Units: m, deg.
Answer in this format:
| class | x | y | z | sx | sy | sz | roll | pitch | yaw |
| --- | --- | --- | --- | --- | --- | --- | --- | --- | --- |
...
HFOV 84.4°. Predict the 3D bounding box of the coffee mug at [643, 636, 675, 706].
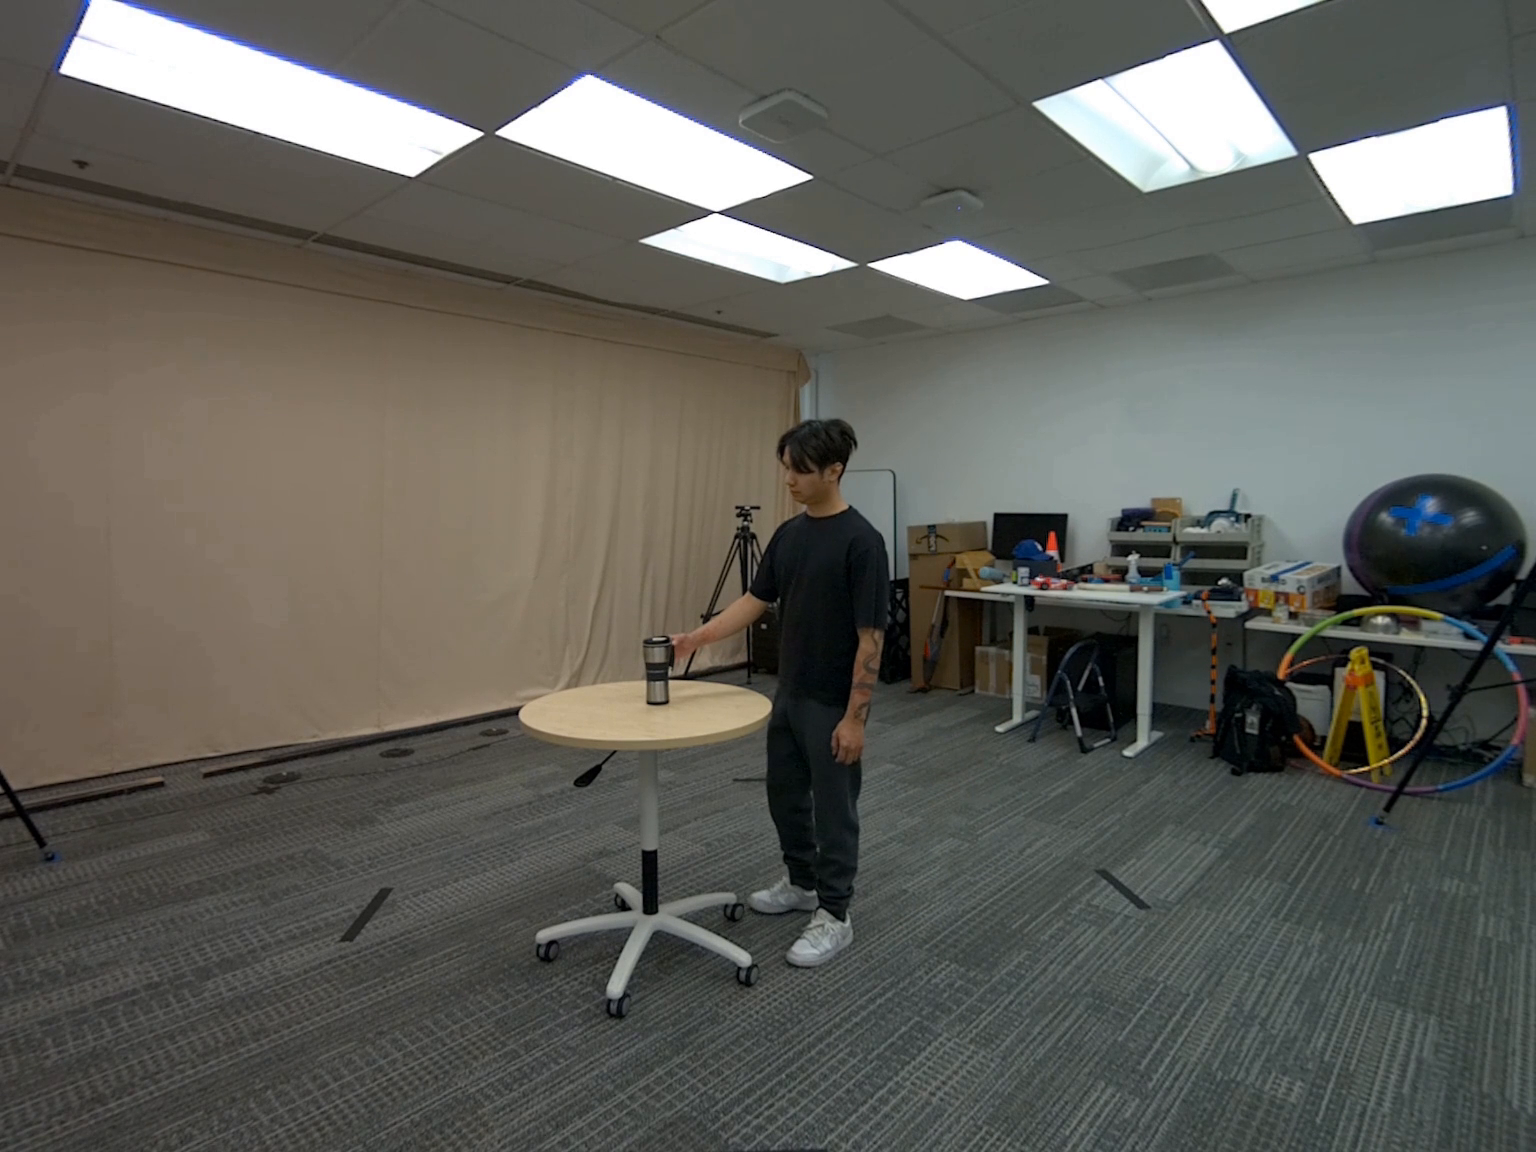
| class | x | y | z | sx | sy | sz | roll | pitch | yaw |
| --- | --- | --- | --- | --- | --- | --- | --- | --- | --- |
| coffee mug | -0.324 | 0.296 | 2.615 | 0.118 | 0.203 | 0.090 | -6 | 2 | -34 |
